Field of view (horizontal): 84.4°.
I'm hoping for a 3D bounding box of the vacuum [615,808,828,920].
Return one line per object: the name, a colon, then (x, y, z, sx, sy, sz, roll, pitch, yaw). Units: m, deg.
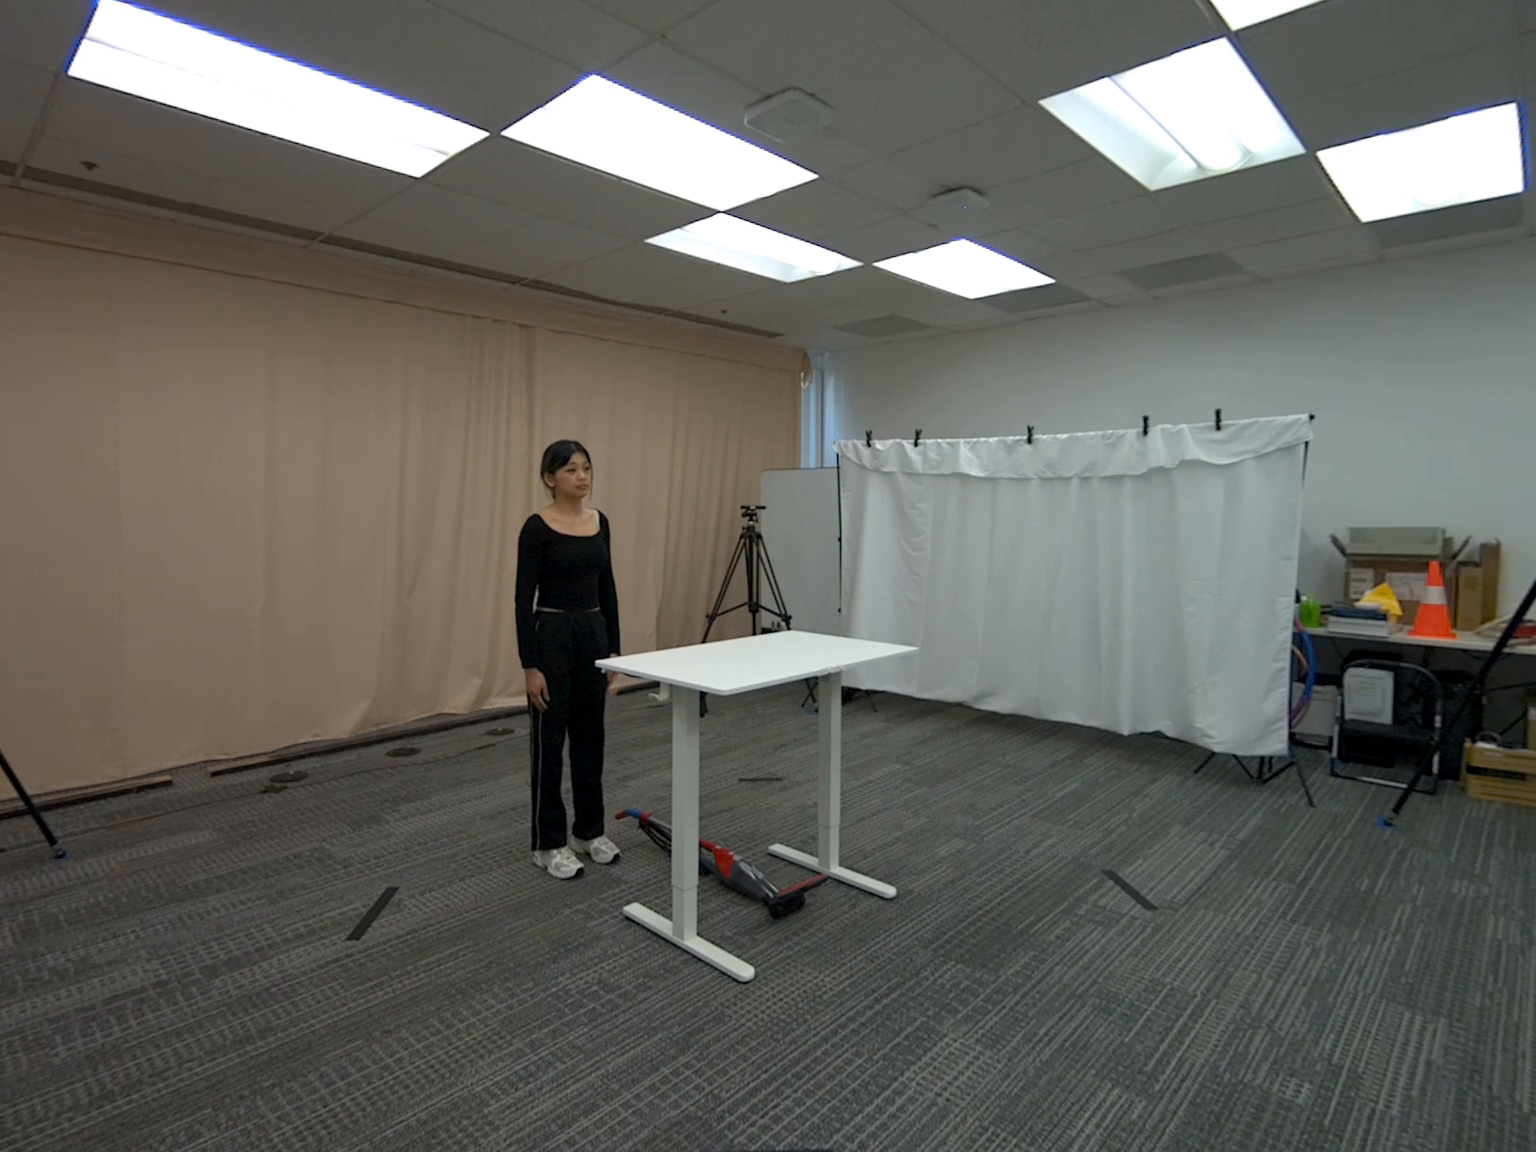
vacuum: (-0.279, 1.072, 3.239, 0.245, 0.144, 1.084, -4, 5, -43)
